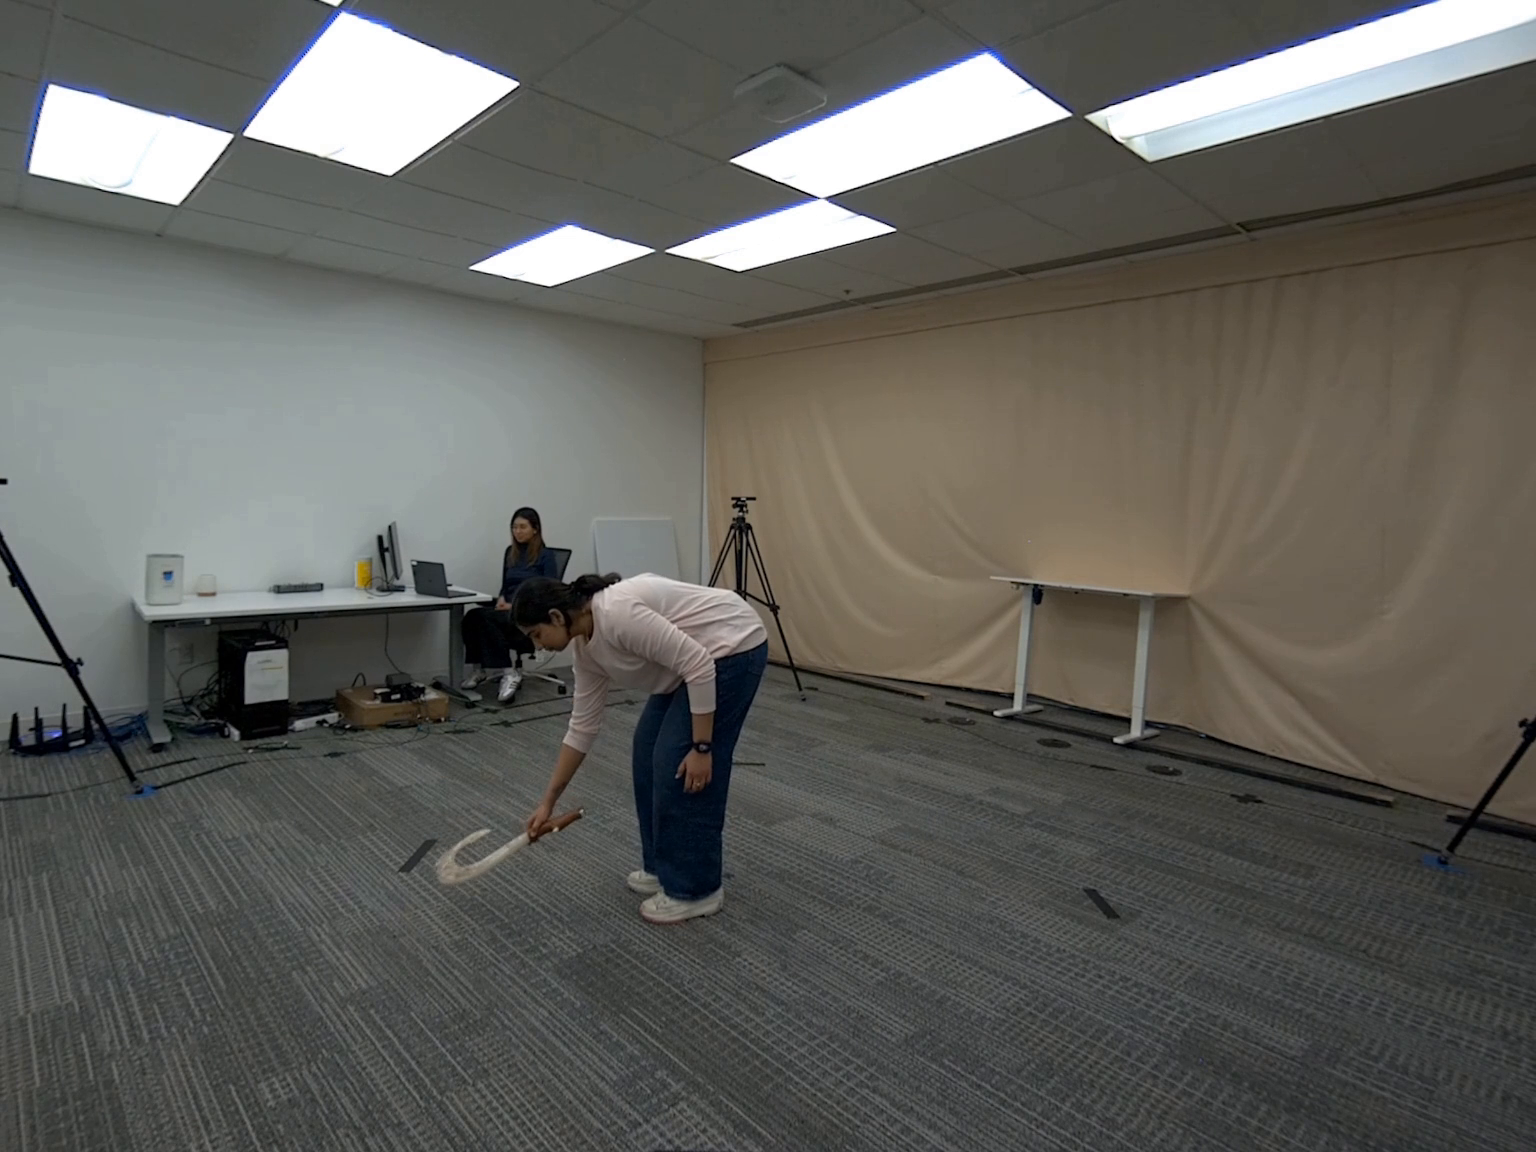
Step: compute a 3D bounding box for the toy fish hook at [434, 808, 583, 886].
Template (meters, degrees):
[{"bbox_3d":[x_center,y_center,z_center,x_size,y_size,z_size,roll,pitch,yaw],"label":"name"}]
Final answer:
[{"bbox_3d":[-0.864,0.866,2.819,0.502,0.047,0.231,-23,28,-18],"label":"toy fish hook"}]
